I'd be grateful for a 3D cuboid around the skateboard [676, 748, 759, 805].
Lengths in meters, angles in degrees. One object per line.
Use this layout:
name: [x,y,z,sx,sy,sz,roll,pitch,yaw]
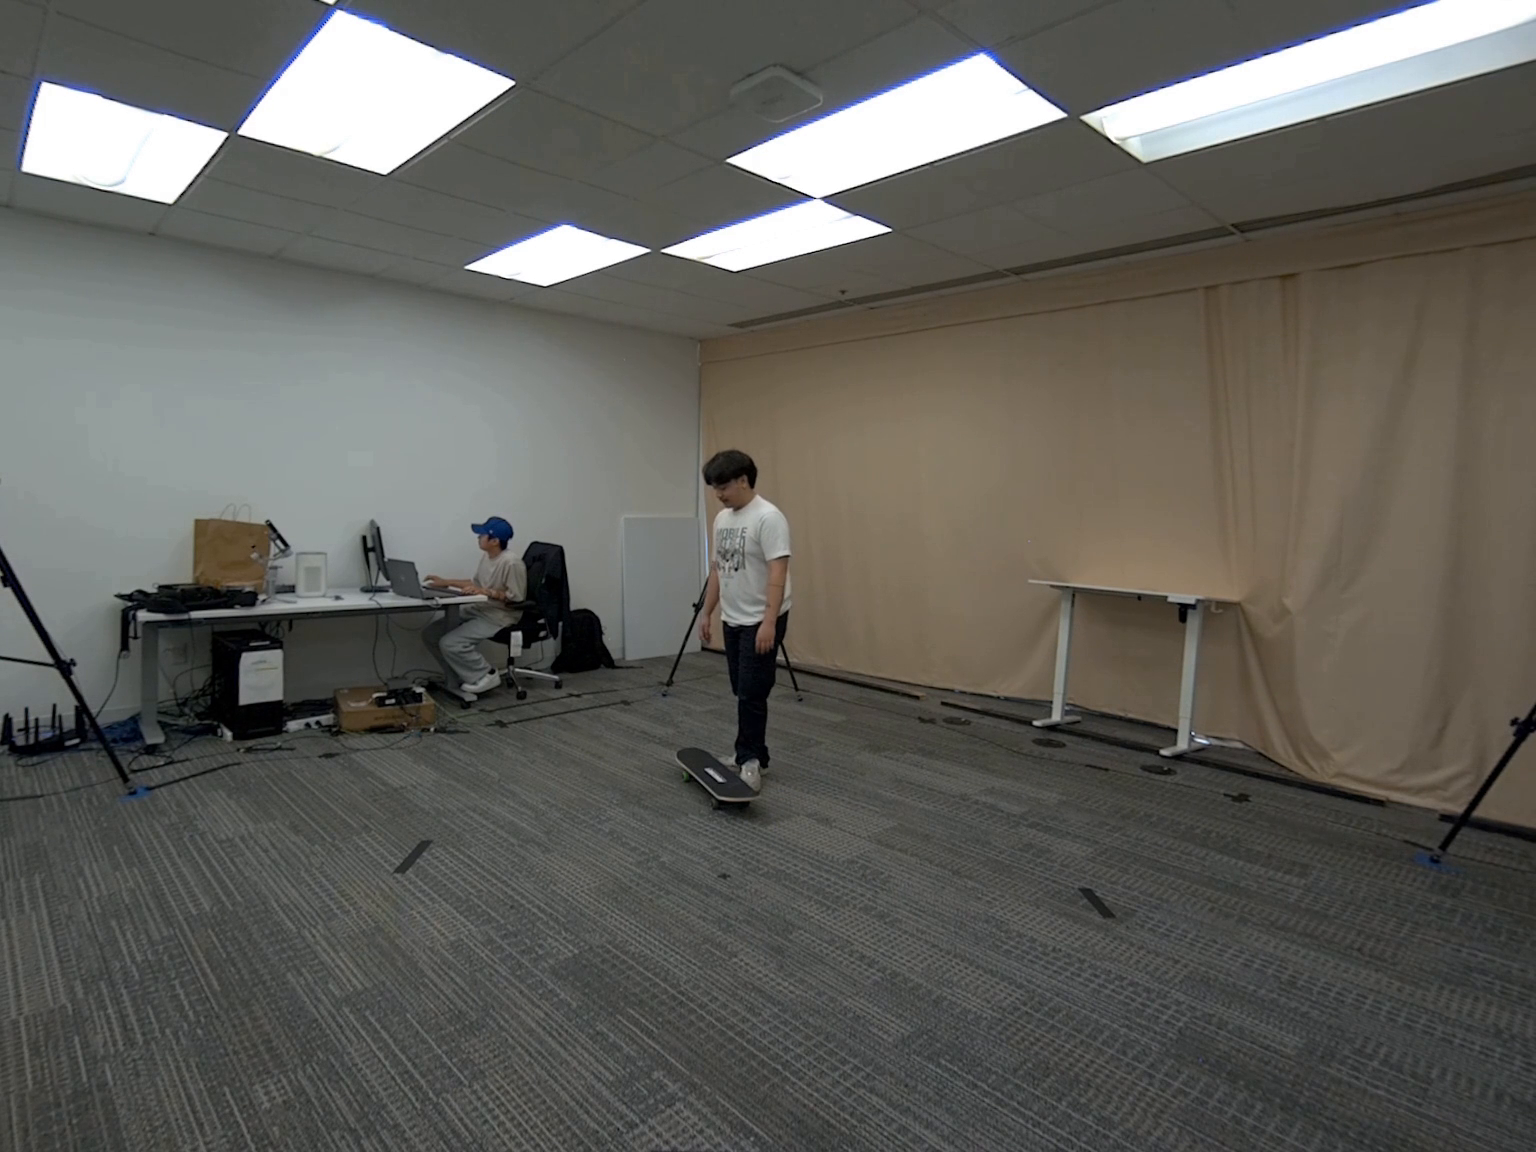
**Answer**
skateboard: [-0.266,0.974,3.990,0.190,0.110,0.801,-1,5,-24]
